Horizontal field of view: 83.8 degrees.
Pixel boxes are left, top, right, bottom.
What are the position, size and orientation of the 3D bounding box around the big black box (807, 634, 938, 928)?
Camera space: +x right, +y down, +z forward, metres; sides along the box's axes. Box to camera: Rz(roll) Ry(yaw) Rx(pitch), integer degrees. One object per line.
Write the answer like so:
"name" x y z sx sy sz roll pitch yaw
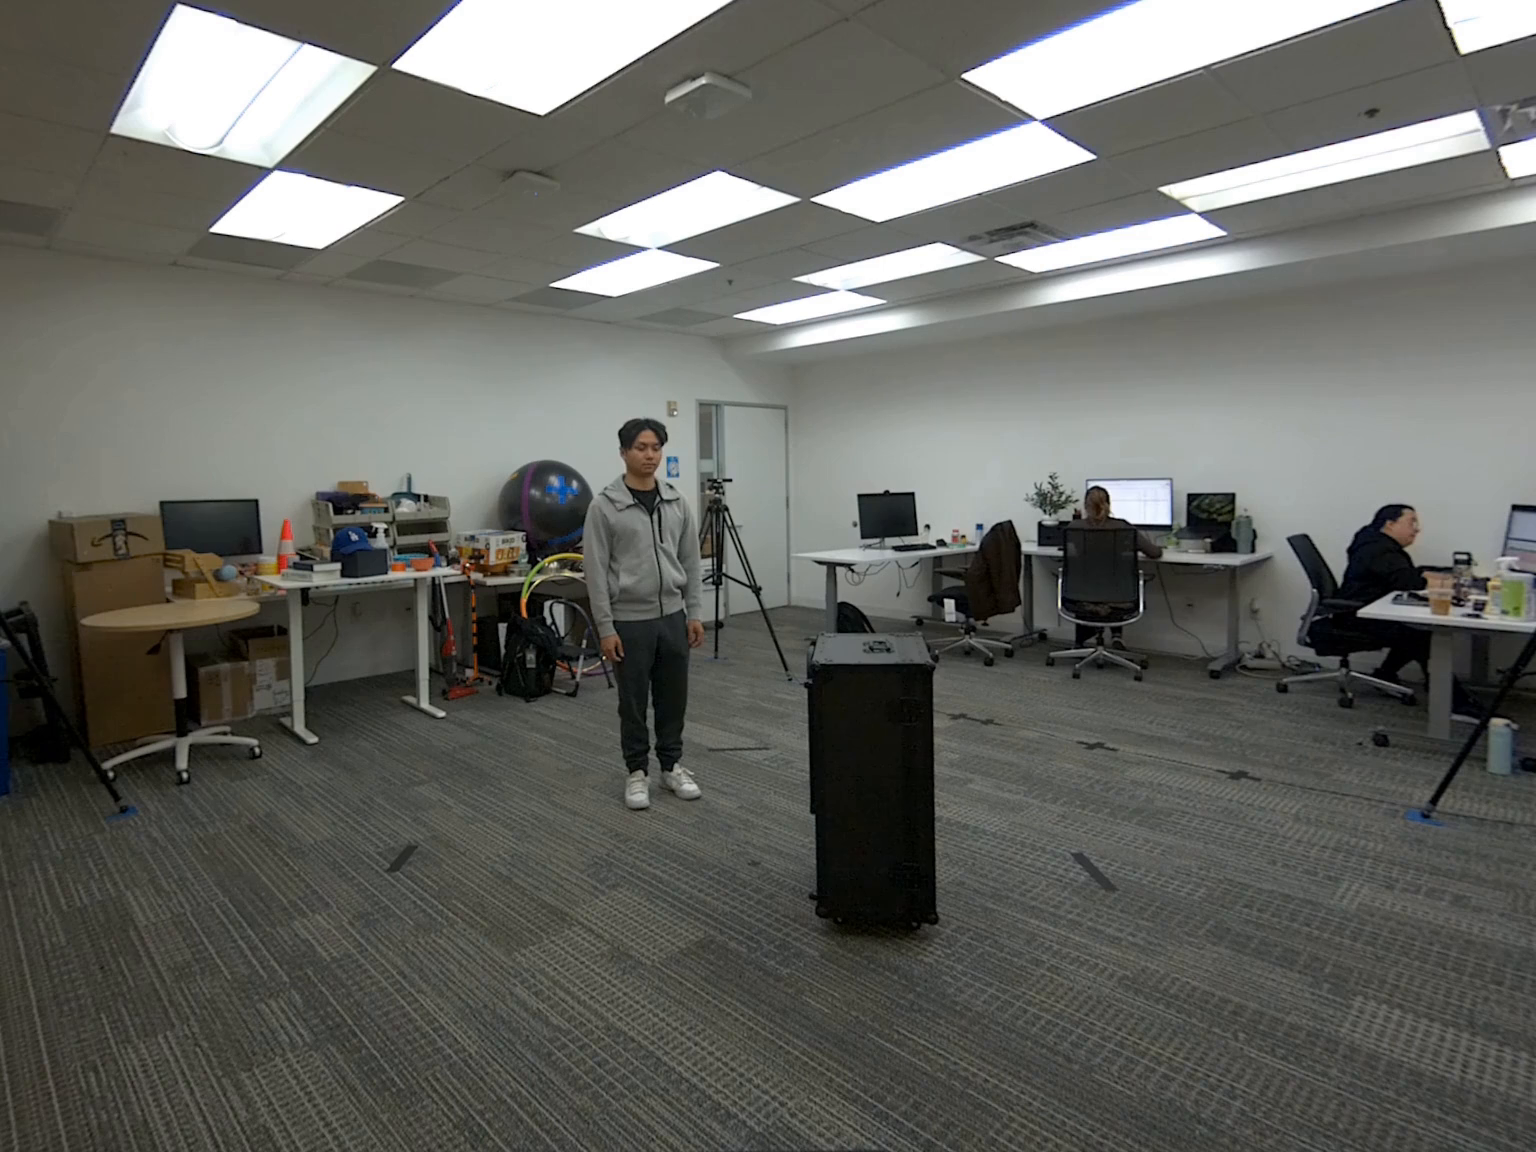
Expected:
"big black box" 0.332 0.652 2.762 0.400 0.858 0.518 -2 4 8
